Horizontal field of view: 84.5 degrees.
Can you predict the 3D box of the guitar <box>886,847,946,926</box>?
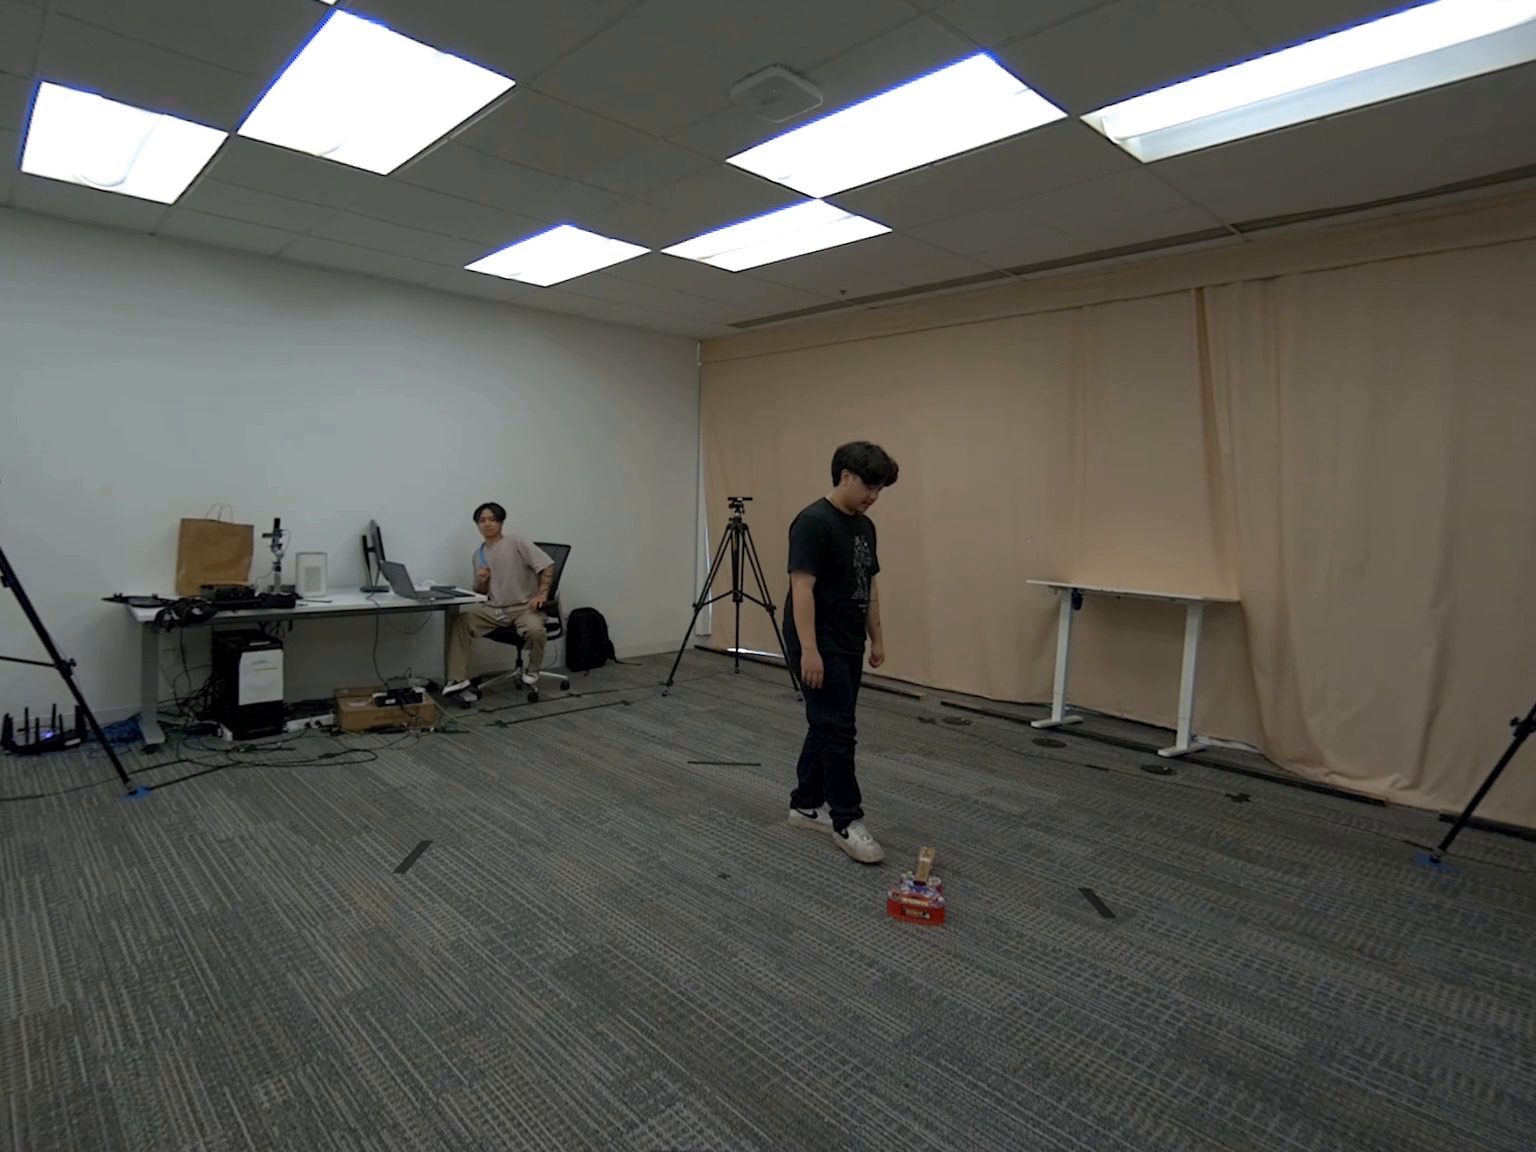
[{"bbox_3d":[0.570,1.100,3.010,0.197,0.070,0.490,4,6,24],"label":"guitar"}]
